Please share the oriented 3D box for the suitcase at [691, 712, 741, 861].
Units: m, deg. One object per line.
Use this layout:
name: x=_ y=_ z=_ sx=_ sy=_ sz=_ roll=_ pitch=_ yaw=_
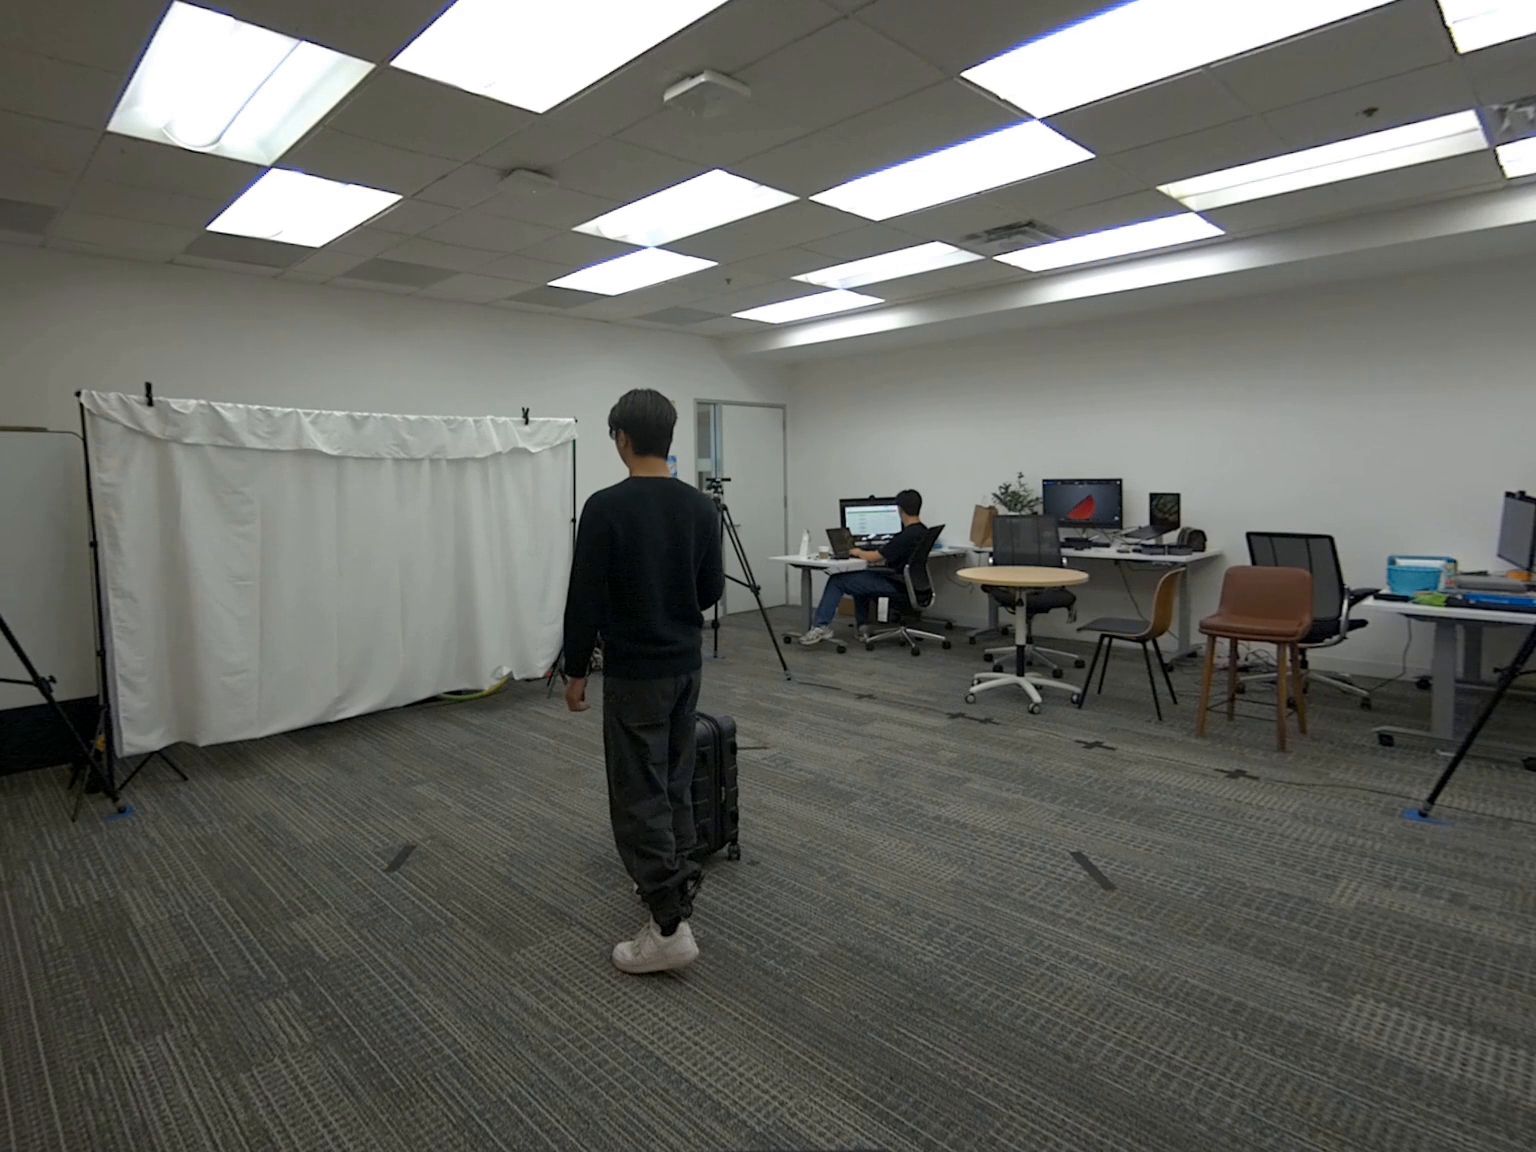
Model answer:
suitcase: x=-0.298 y=0.564 z=3.170 sx=0.395 sy=0.978 sz=0.250 roll=1 pitch=1 yaw=43
